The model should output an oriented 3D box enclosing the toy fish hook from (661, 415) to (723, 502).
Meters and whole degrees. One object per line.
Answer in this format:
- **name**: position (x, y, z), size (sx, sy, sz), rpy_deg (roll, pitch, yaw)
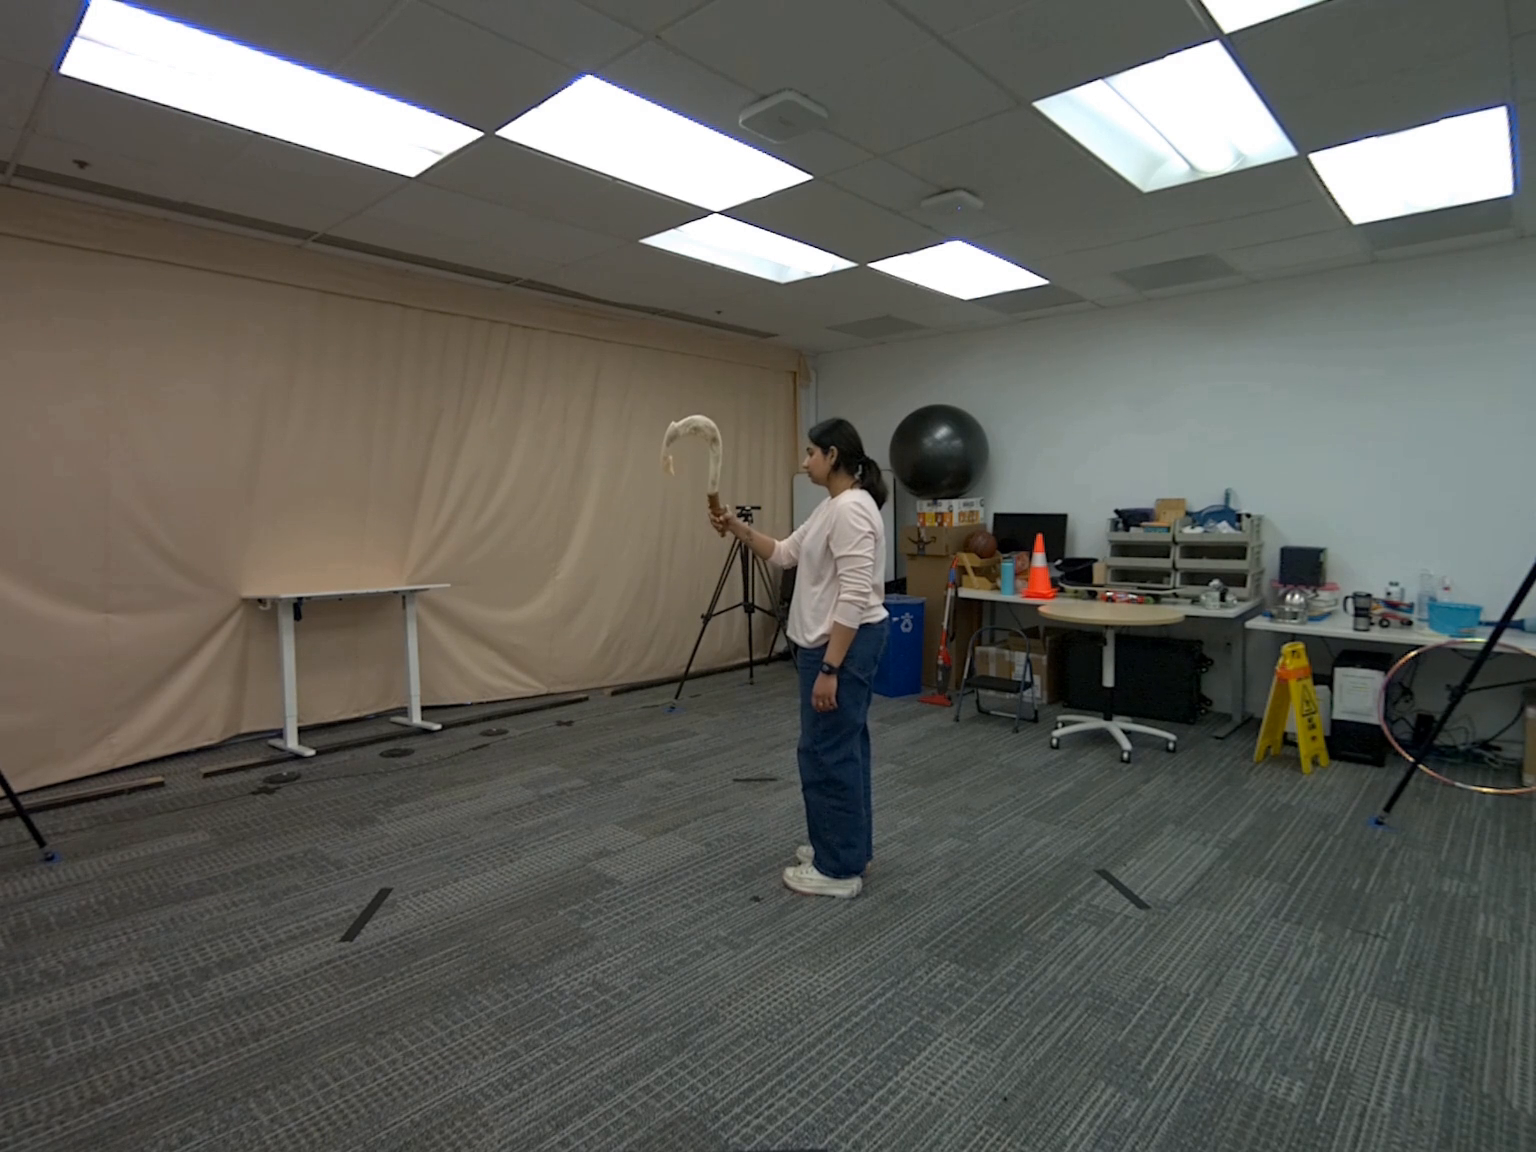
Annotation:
- **toy fish hook**: position (-0.254, -0.319, 3.019), size (0.223, 0.495, 0.050), rpy_deg (-16, 31, -7)
